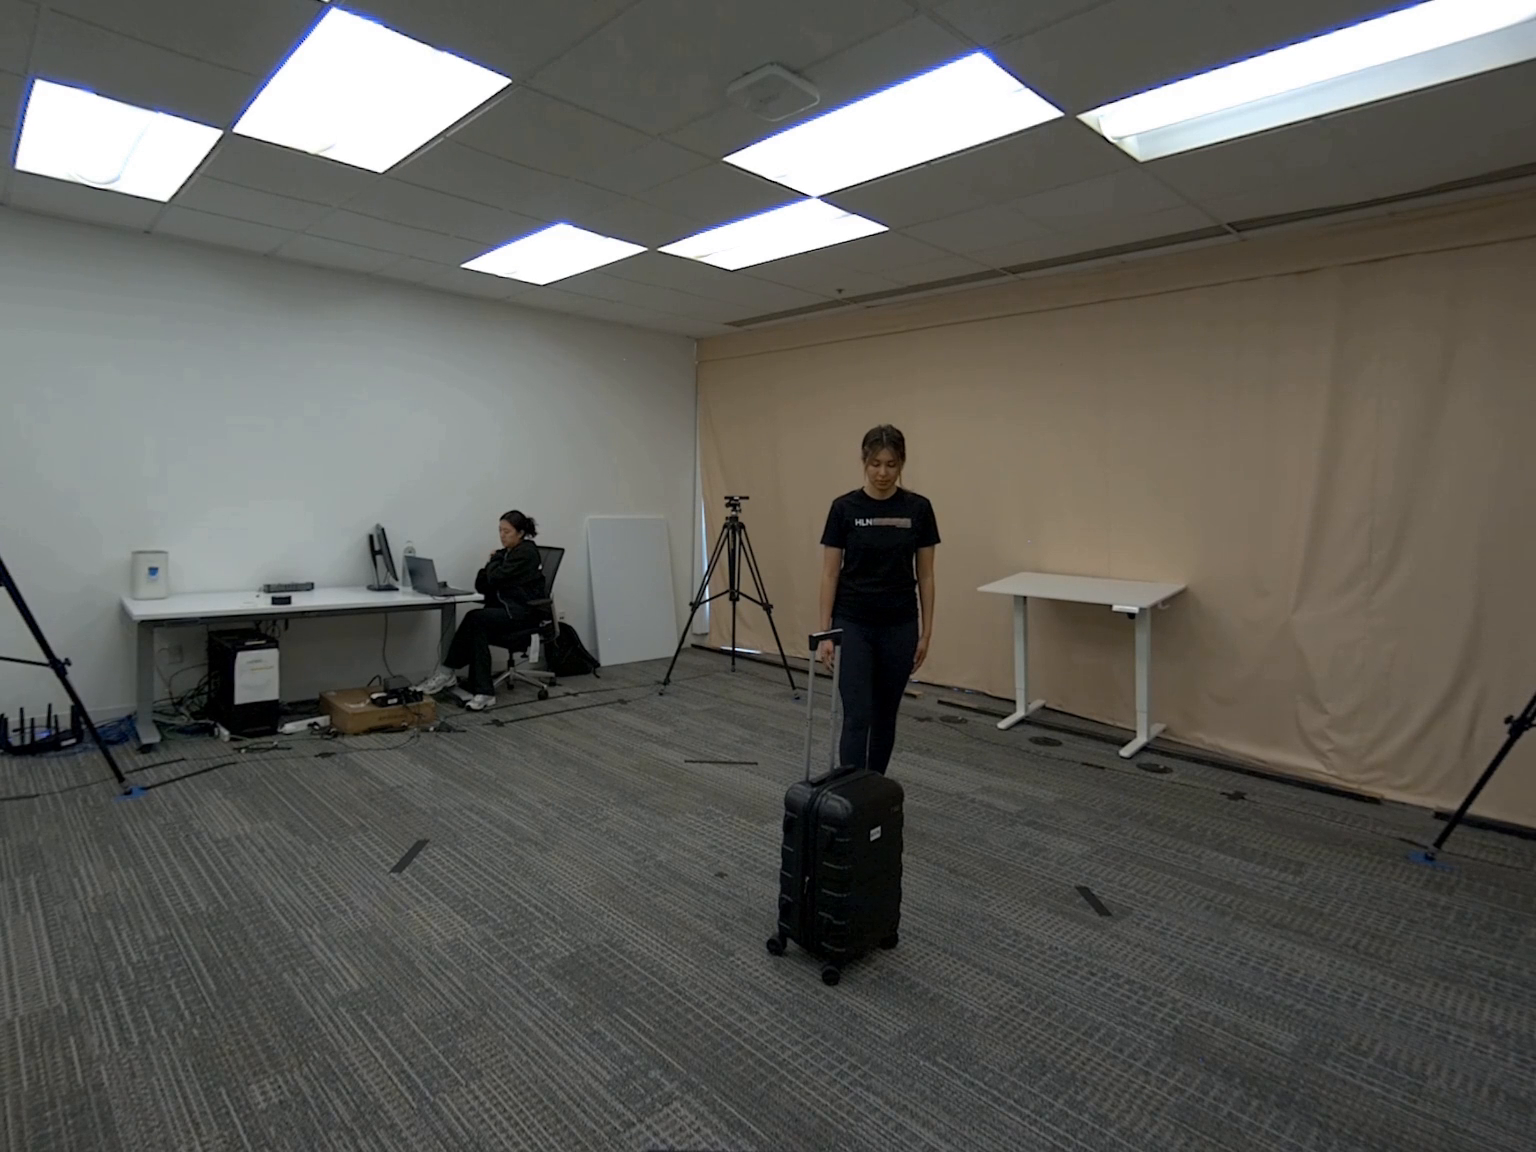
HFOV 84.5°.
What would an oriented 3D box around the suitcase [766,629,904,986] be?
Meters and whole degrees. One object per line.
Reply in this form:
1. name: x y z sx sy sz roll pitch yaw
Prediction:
1. suitcase: 0.241 0.687 2.573 0.264 0.975 0.375 9 6 42
